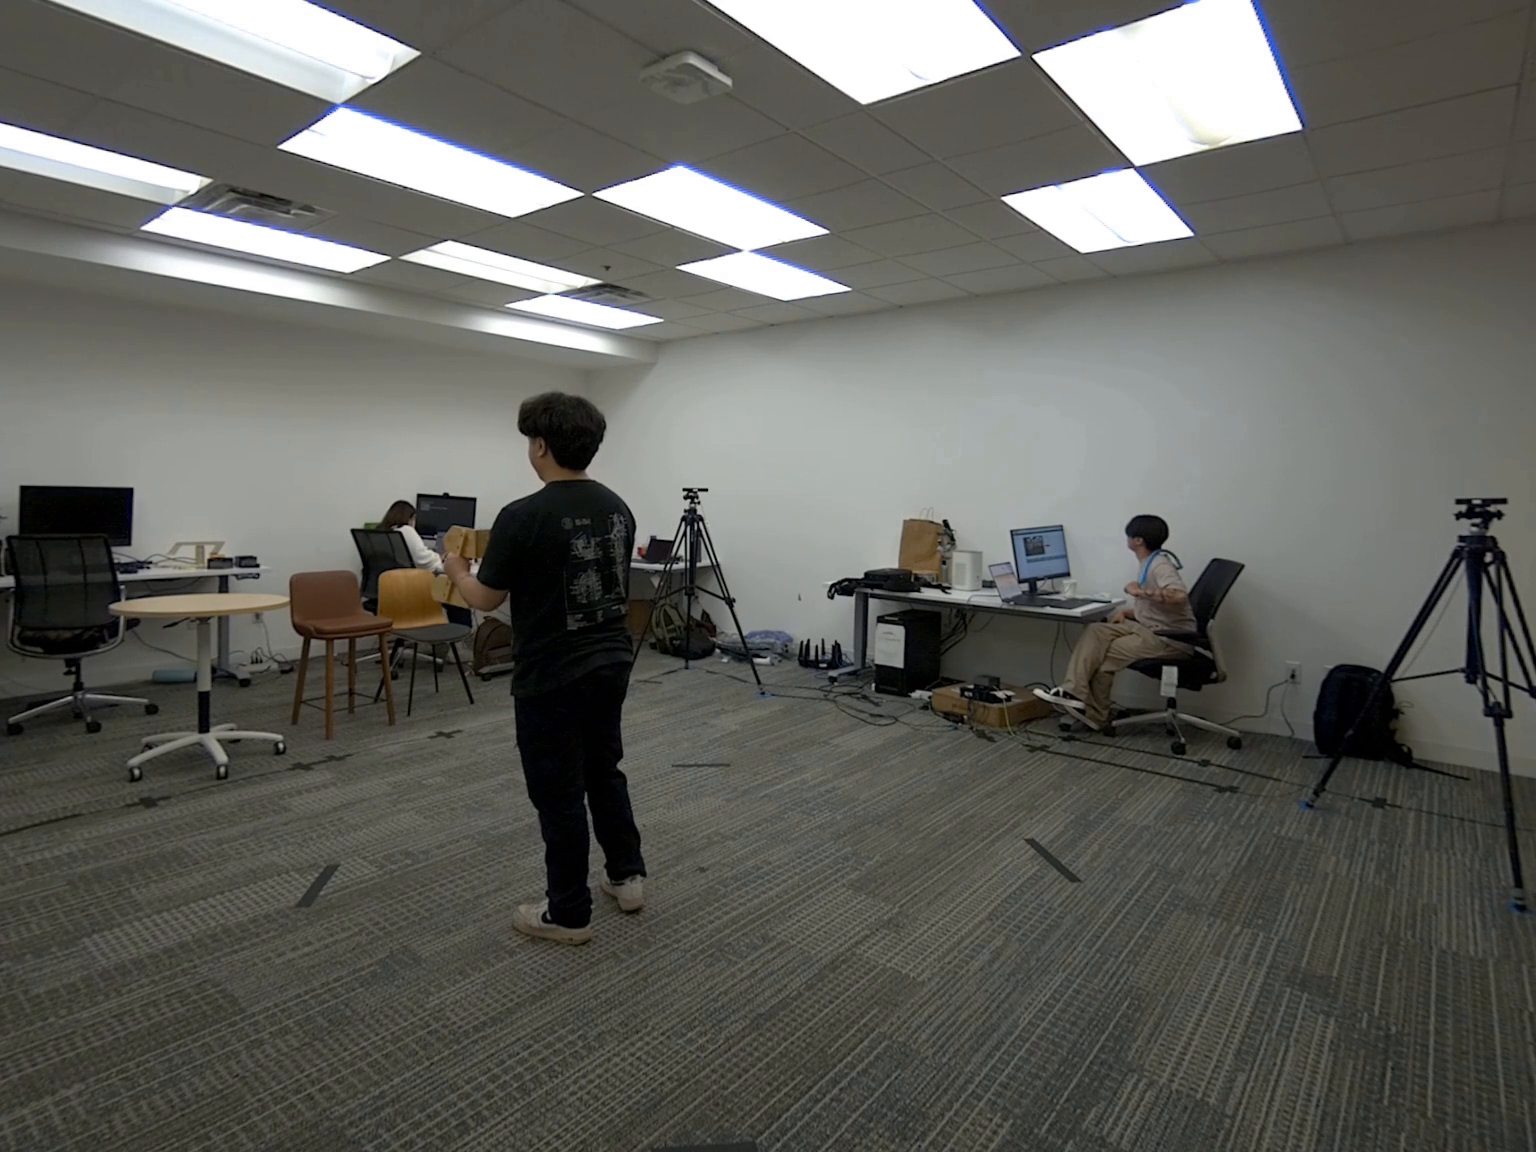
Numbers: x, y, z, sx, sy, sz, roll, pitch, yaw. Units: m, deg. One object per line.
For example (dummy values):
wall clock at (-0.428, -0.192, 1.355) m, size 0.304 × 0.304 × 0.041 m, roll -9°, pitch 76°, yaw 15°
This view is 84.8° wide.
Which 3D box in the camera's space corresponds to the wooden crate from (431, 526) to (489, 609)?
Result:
wooden crate at (-0.955, -0.056, 2.907) m, size 0.313 × 0.271 × 0.315 m, roll 8°, pitch 10°, yaw 41°
